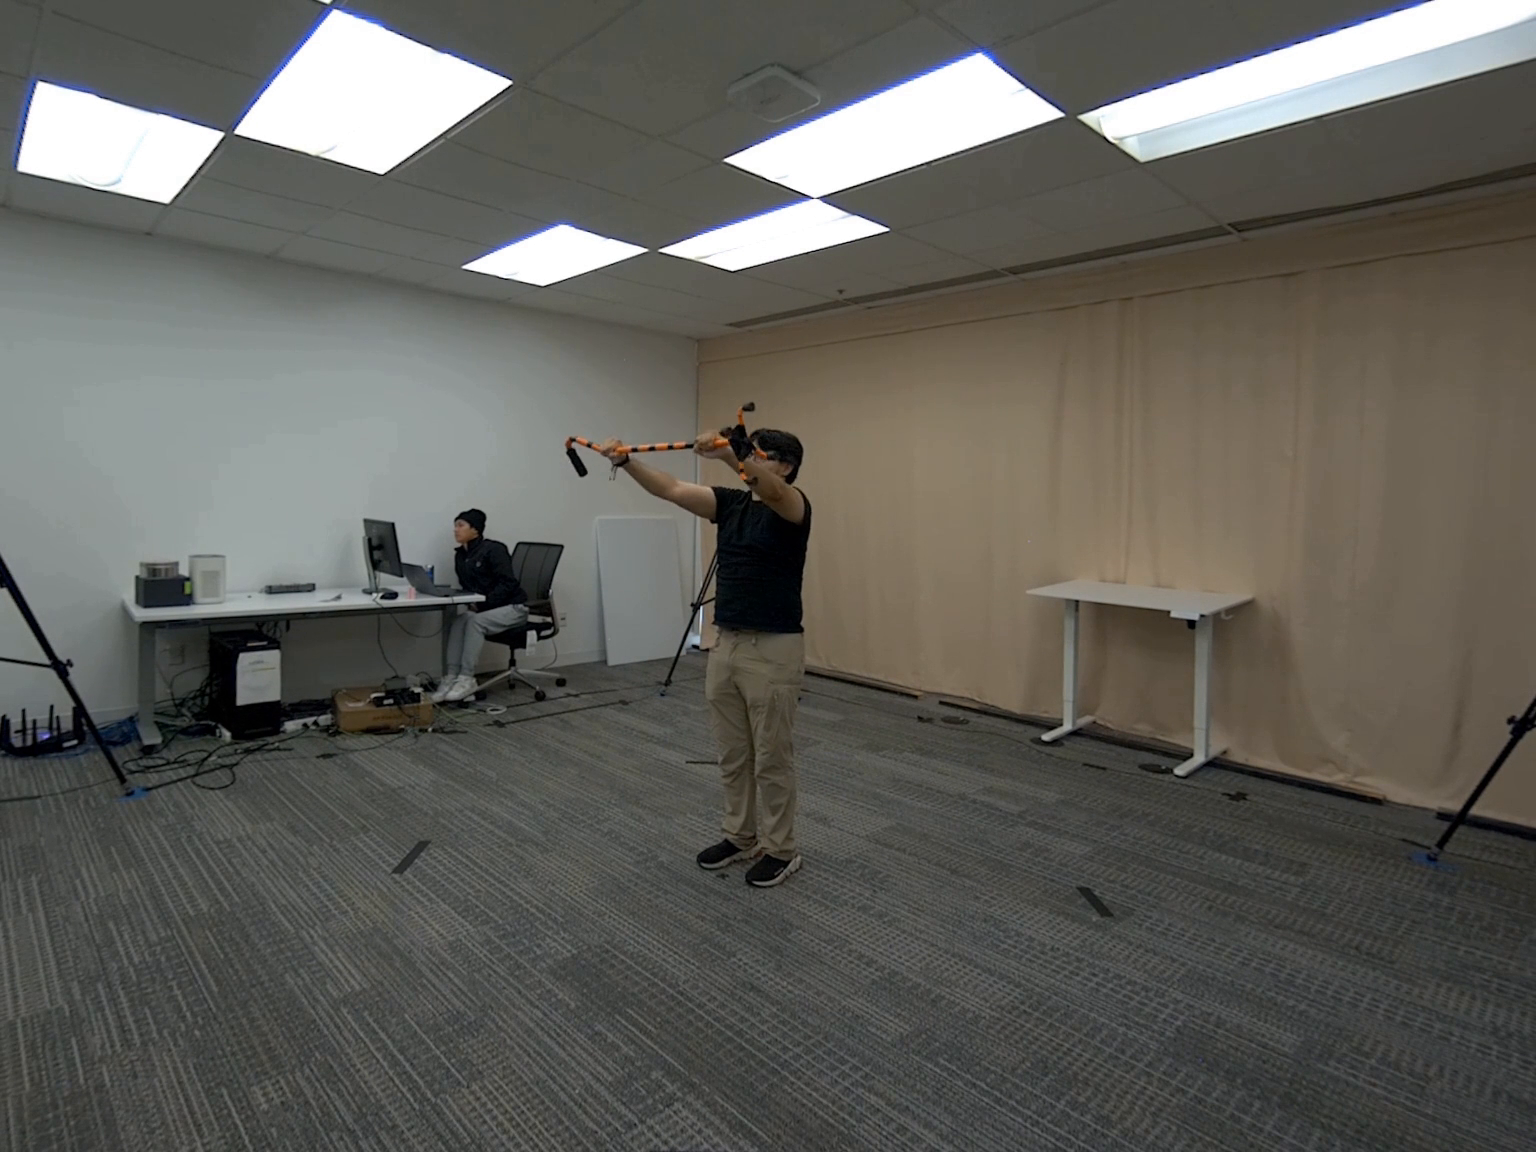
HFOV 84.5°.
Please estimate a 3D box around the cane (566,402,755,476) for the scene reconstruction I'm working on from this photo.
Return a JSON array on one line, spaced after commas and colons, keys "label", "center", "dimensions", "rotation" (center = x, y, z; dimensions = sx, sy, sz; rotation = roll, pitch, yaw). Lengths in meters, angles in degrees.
[{"label": "cane", "center": [-0.391, -0.411, 2.768], "dimensions": [0.931, 0.201, 0.152], "rotation": [5, 44, 42]}]
